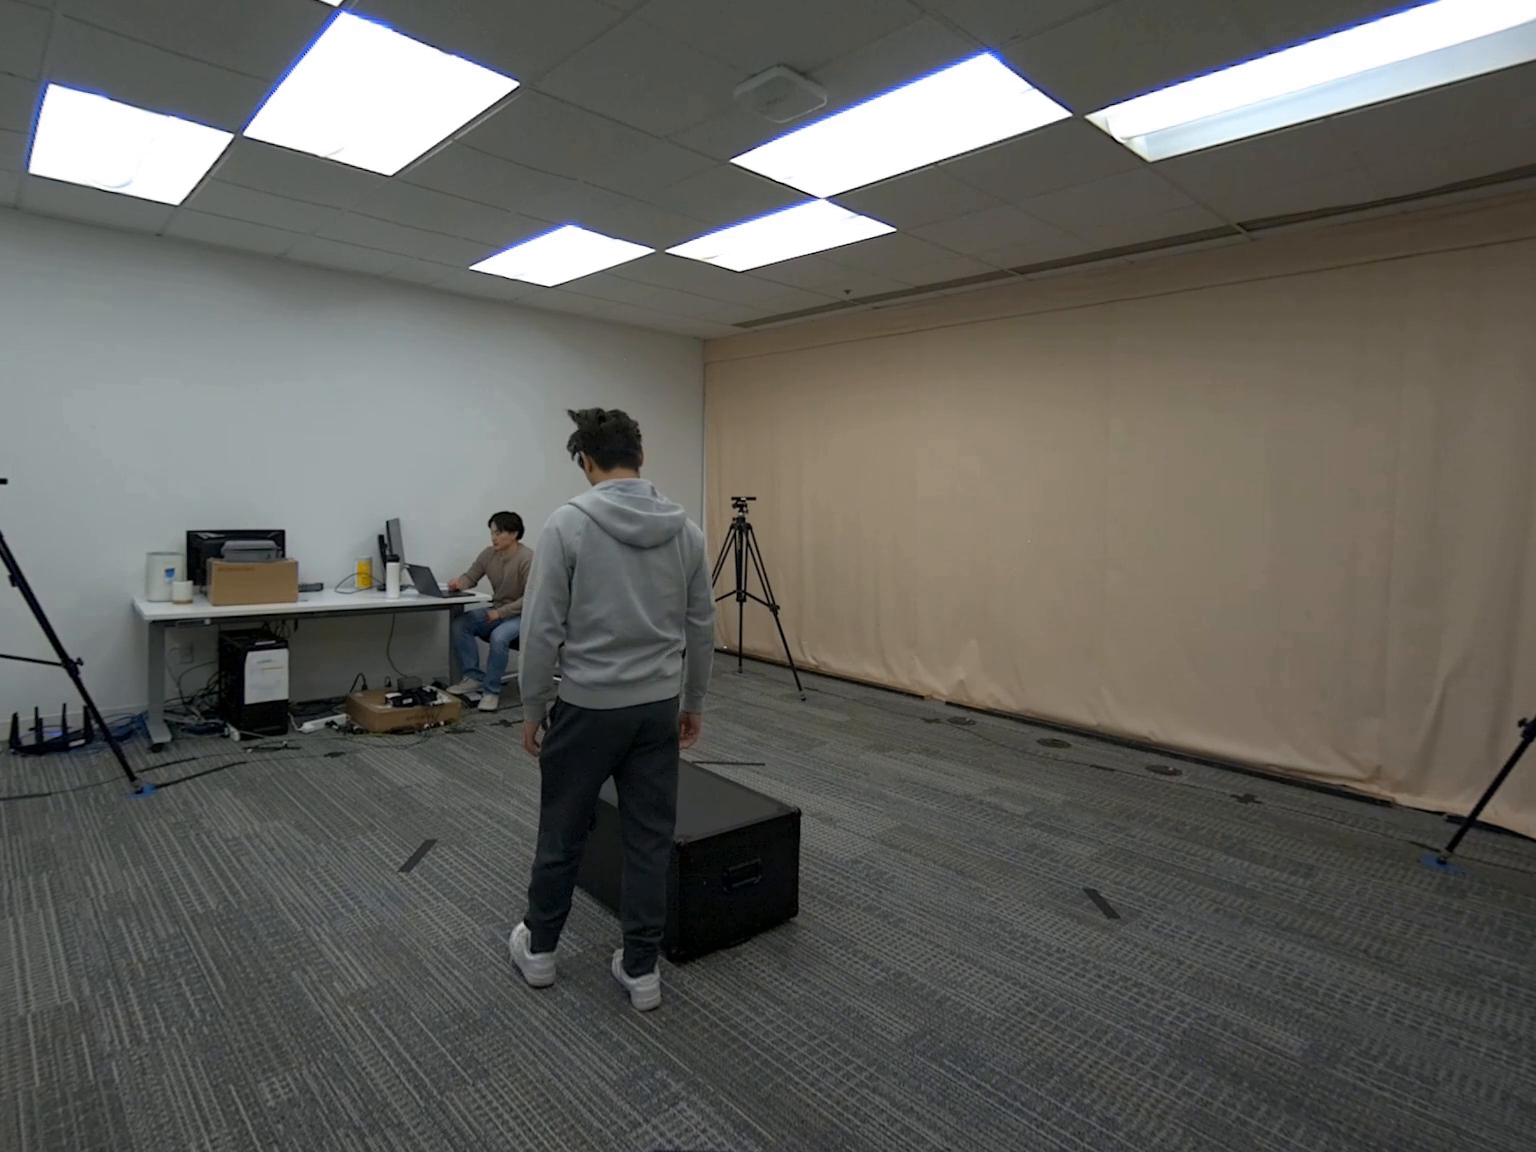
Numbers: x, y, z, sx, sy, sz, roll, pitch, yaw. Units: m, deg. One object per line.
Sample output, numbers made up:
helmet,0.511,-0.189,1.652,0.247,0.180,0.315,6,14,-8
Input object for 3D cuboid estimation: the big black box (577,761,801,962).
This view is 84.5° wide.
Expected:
big black box,-0.355,0.928,2.941,0.509,0.395,0.884,-2,6,-40
